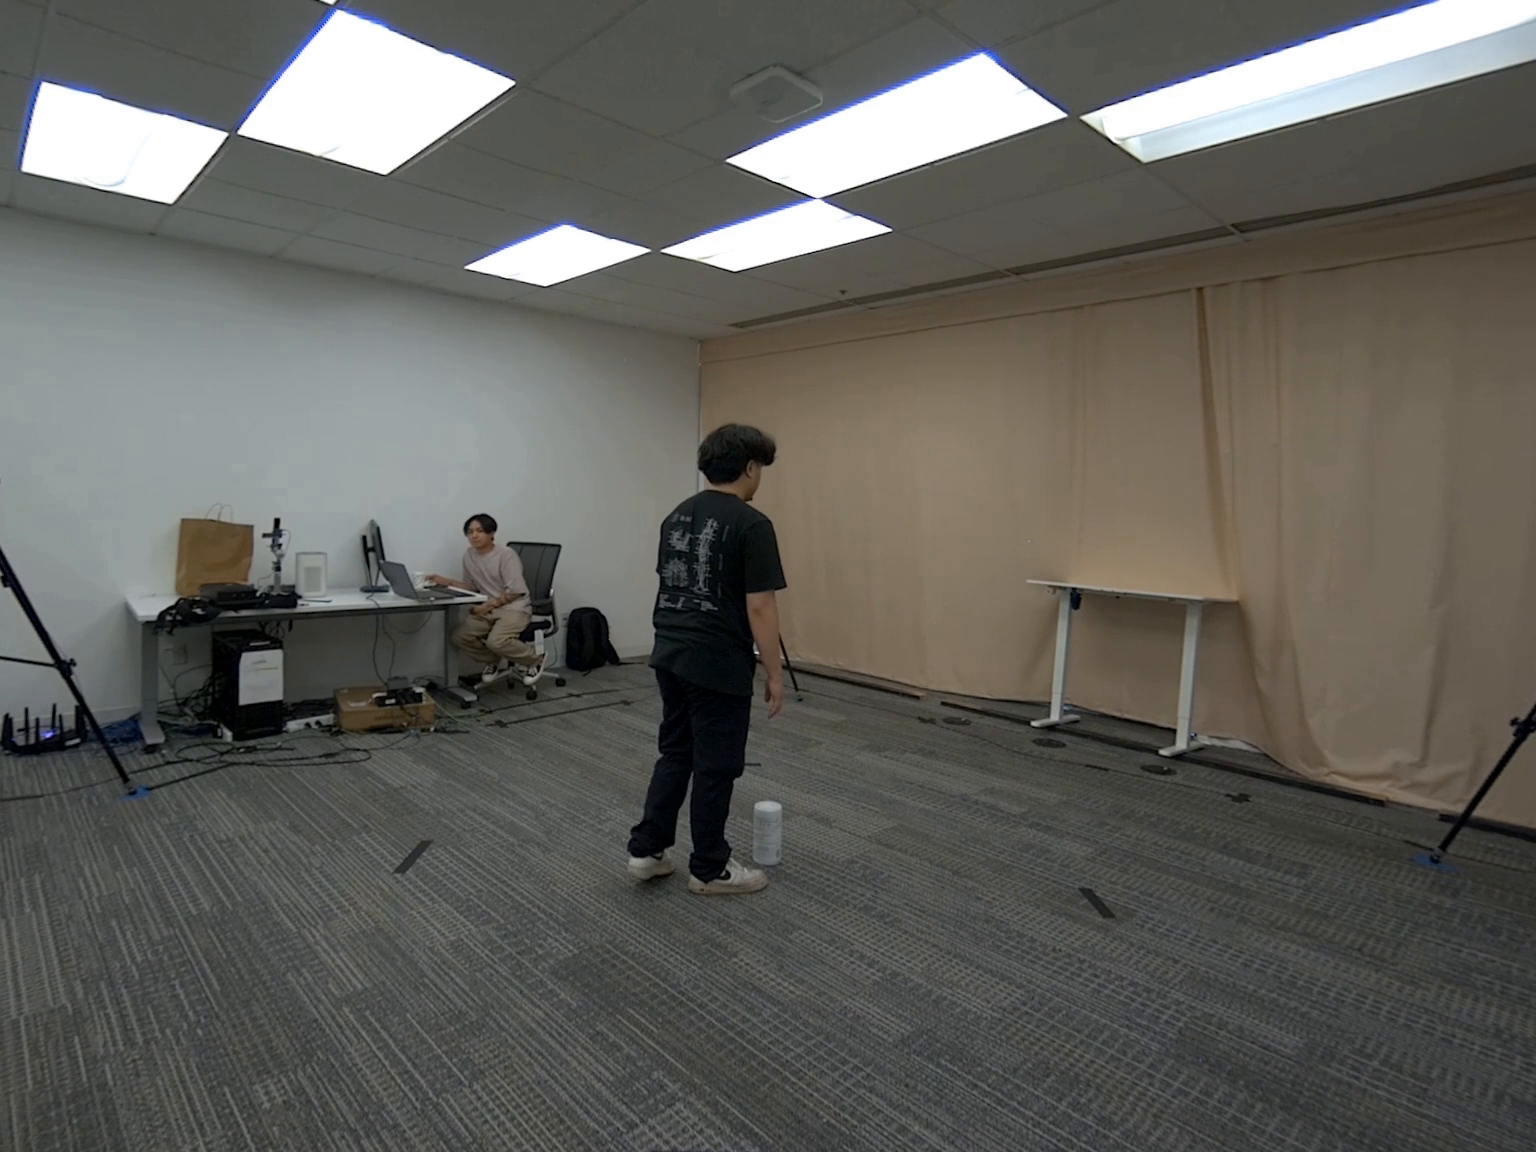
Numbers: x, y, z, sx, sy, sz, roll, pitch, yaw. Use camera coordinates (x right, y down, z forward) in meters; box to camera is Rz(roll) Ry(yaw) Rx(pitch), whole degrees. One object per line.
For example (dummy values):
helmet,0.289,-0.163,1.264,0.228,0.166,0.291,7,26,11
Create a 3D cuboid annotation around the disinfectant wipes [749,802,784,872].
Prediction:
disinfectant wipes,-0.009,0.996,3.245,0.118,0.217,0.118,1,2,-1
